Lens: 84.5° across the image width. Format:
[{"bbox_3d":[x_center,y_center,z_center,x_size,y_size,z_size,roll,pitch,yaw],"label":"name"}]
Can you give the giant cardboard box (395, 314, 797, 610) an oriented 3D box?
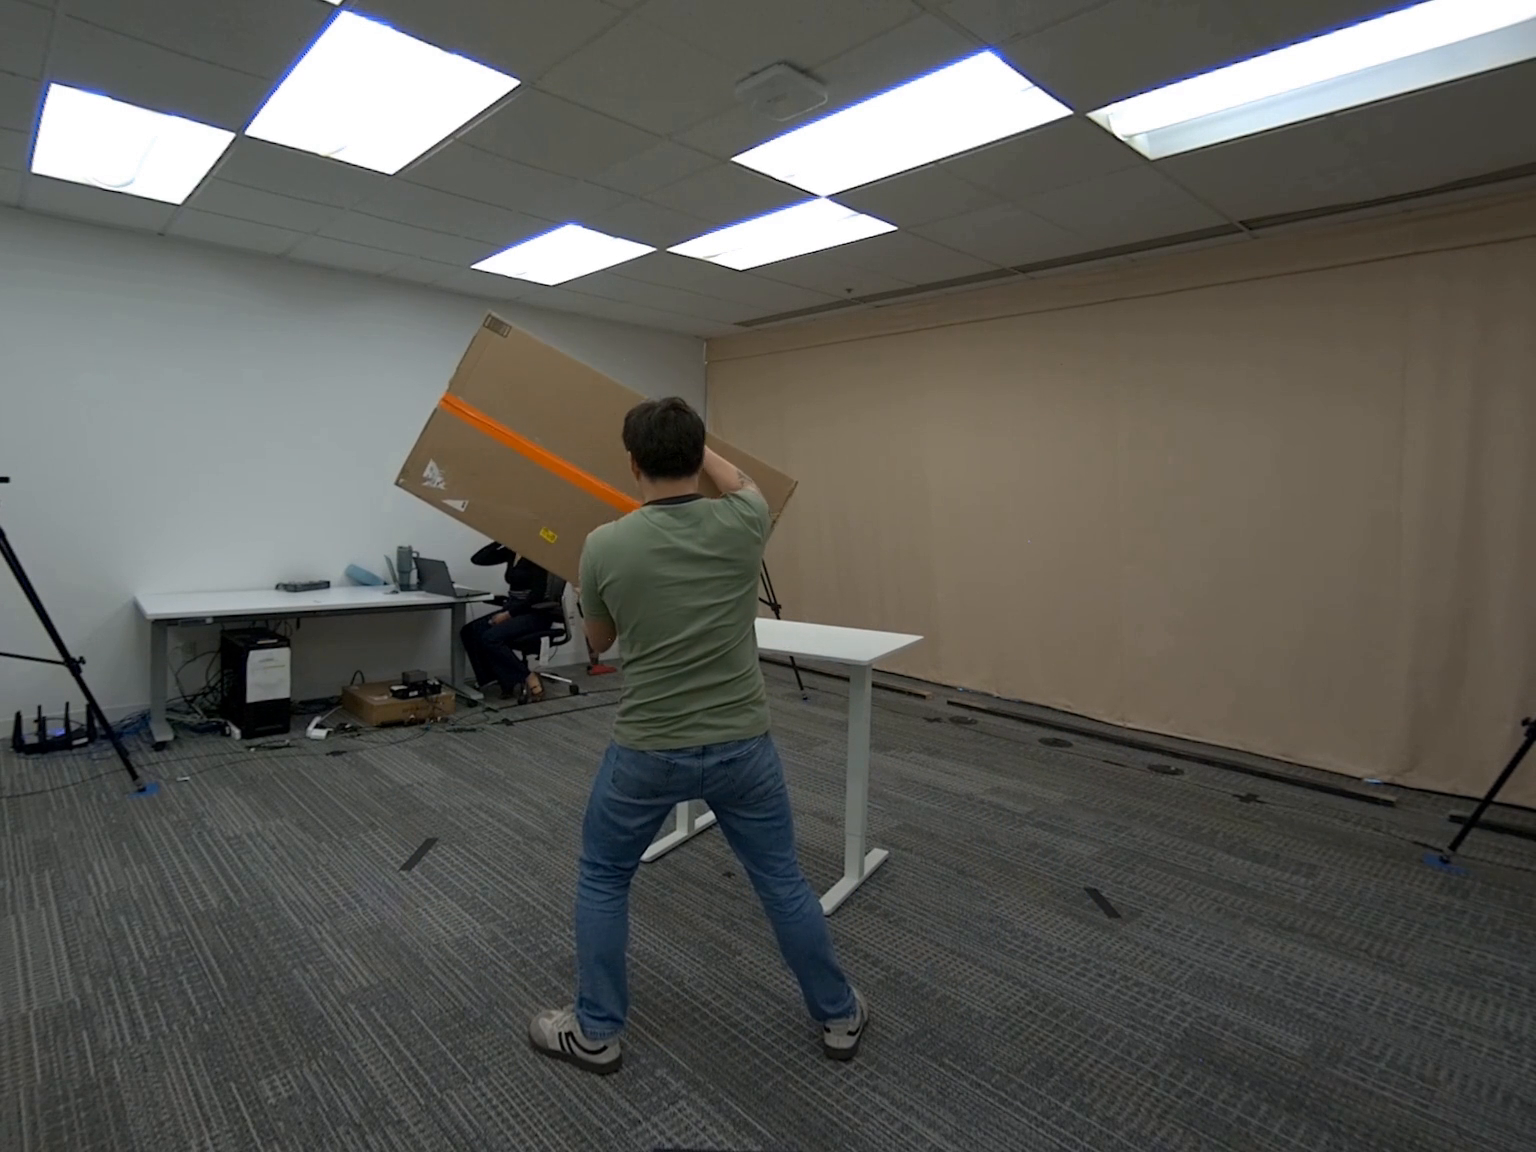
[{"bbox_3d":[-0.506,-0.270,2.610,1.028,0.577,0.425,29,1,2],"label":"giant cardboard box"}]
